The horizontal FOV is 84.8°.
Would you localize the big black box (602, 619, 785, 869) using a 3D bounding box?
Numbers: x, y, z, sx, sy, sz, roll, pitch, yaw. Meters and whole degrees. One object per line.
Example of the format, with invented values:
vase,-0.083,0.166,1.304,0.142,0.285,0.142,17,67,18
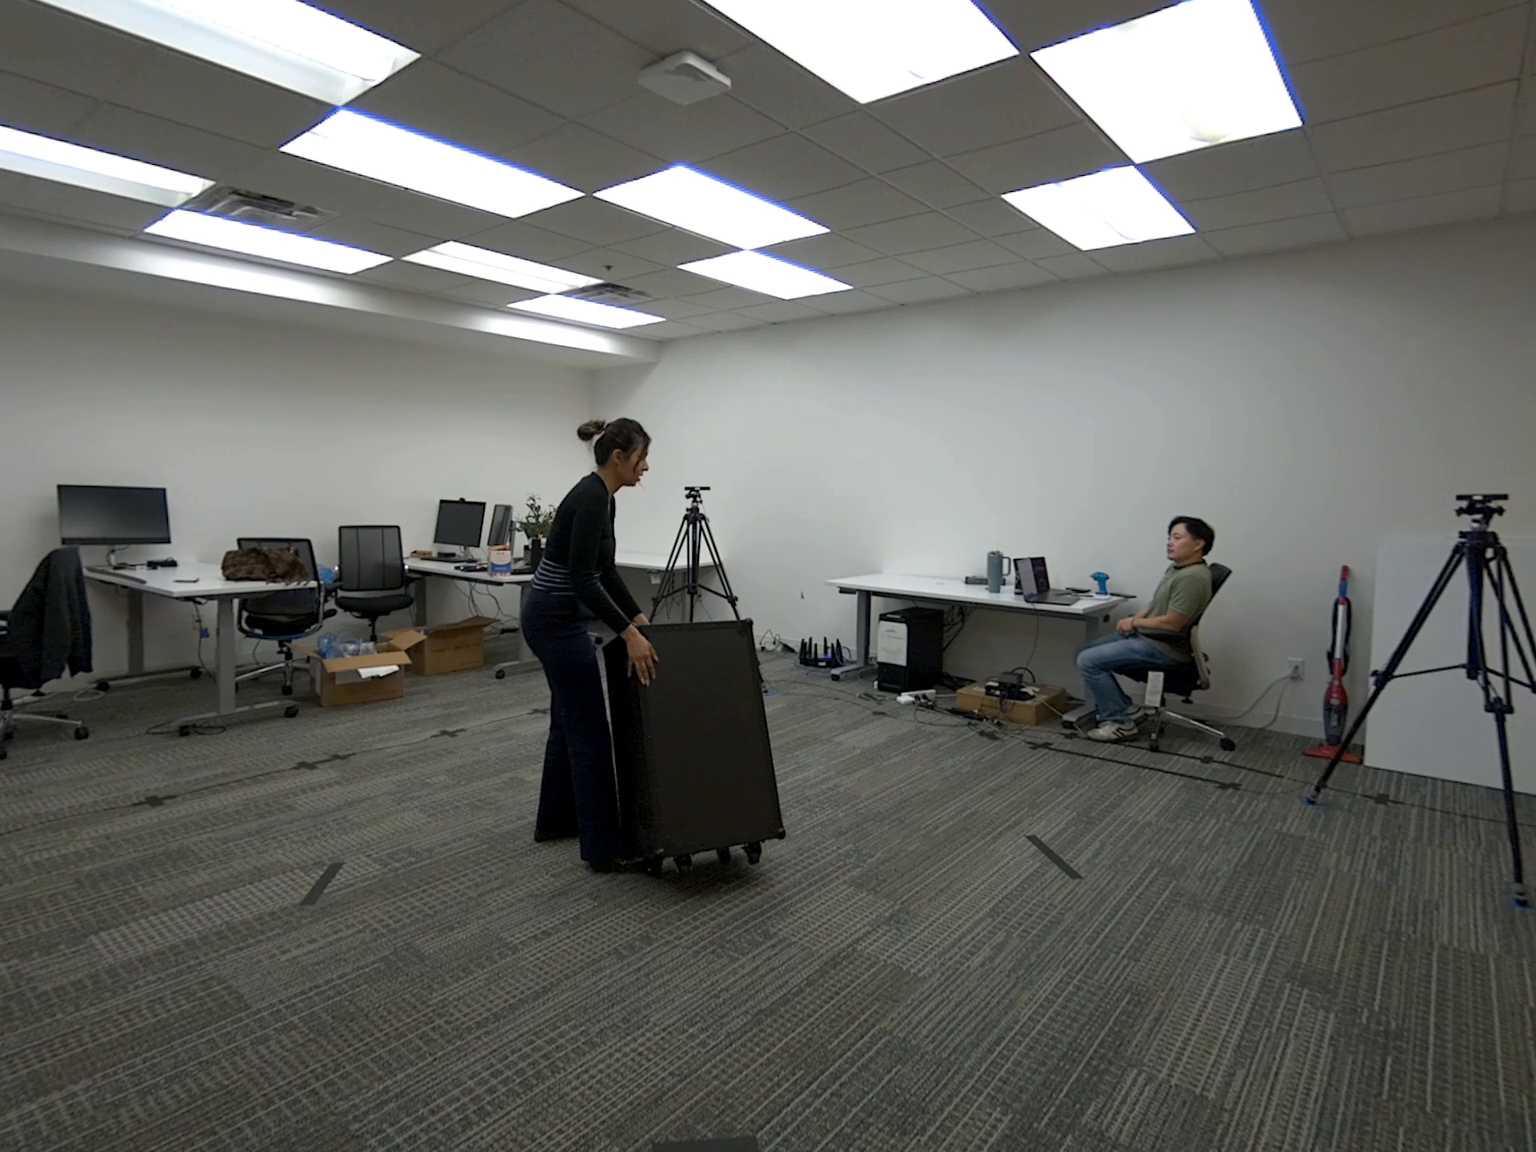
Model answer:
big black box,-0.303,0.570,3.152,0.508,0.877,0.399,-1,-18,-26
